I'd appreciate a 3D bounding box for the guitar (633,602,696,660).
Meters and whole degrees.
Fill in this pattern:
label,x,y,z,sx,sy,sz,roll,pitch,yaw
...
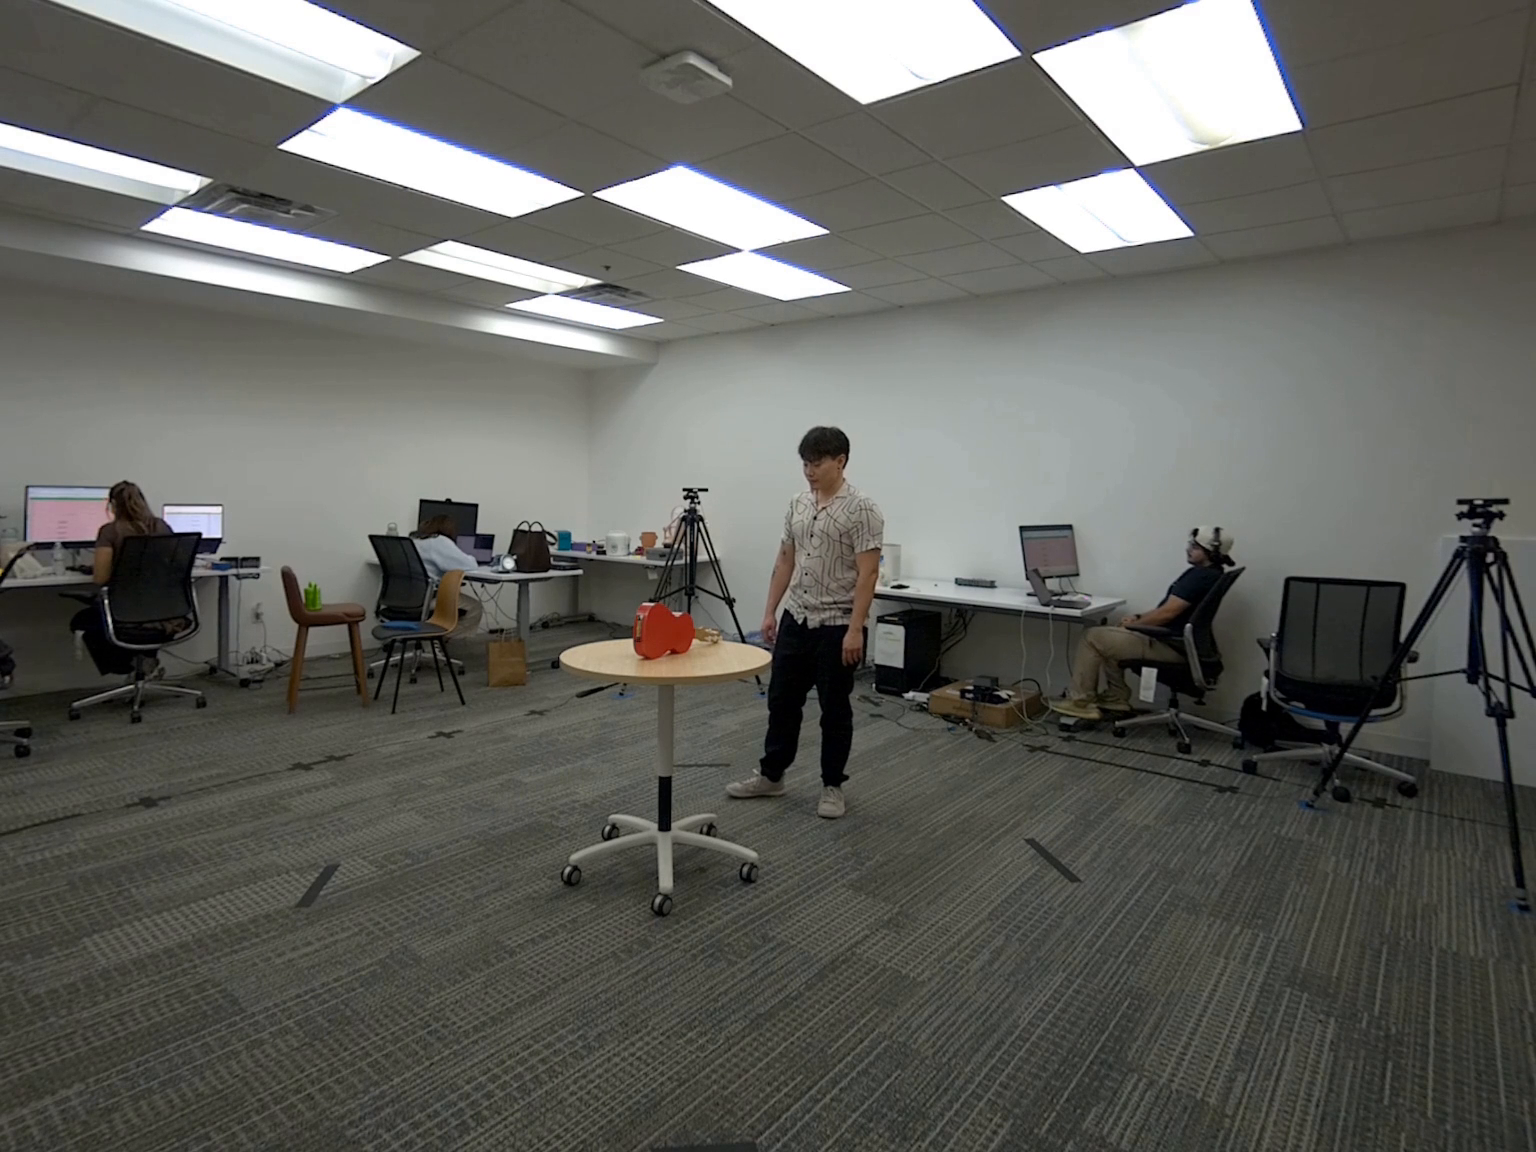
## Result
label,x,y,z,sx,sy,sz,roll,pitch,yaw
guitar,-0.329,0.184,3.173,0.073,0.193,0.483,1,3,35
